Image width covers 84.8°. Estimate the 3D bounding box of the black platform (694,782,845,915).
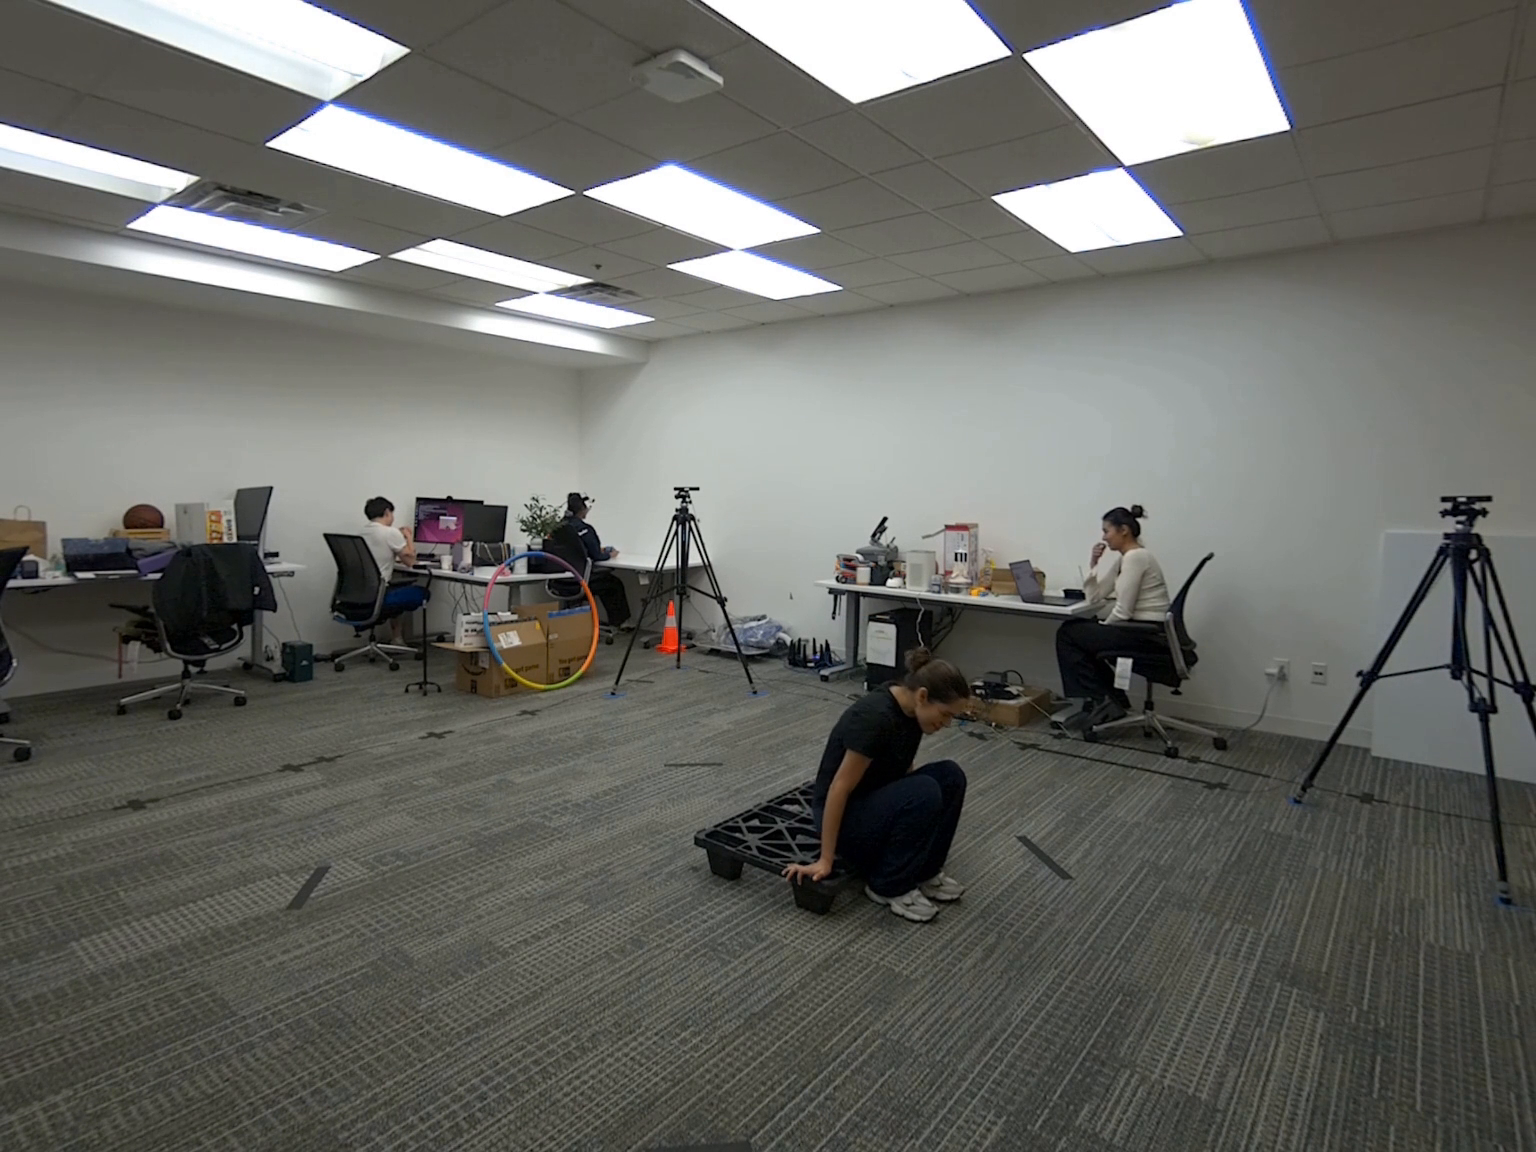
[{"bbox_3d":[0.200,0.998,3.213,0.625,0.143,0.782,5,6,37],"label":"black platform"}]
